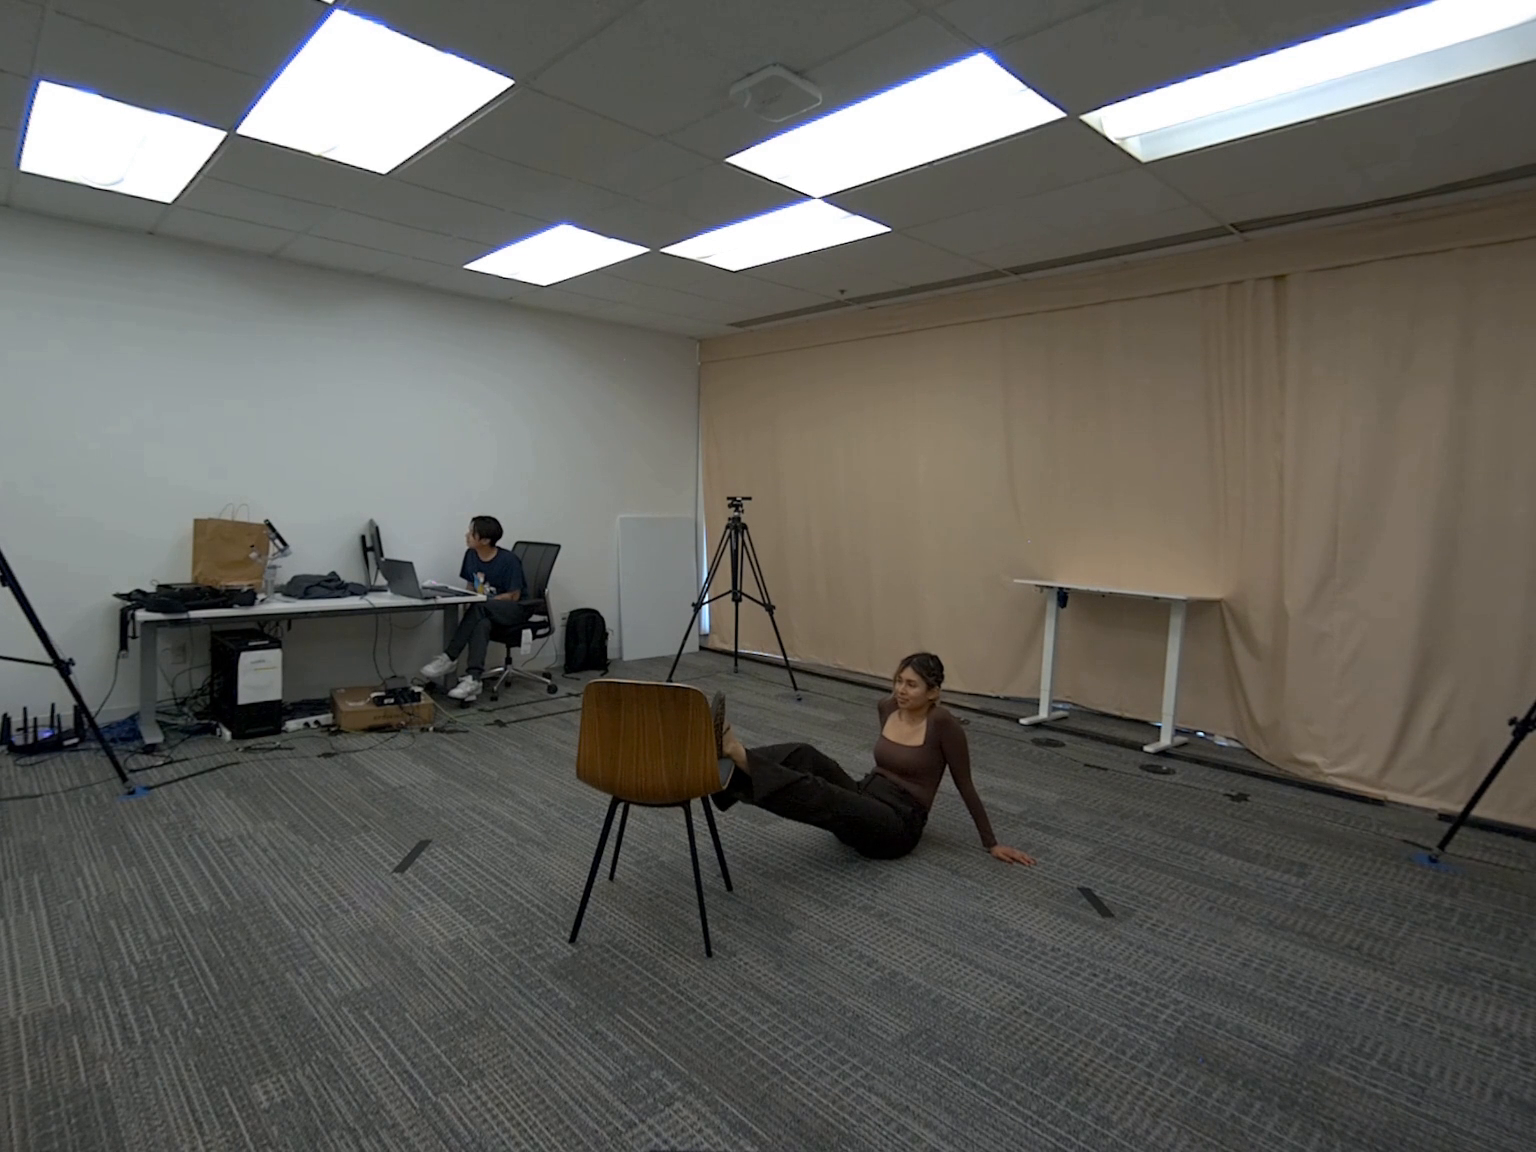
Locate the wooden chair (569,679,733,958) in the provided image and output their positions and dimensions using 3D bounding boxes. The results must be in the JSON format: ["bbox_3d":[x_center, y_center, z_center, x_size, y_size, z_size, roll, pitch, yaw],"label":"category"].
[{"bbox_3d":[-0.364,0.704,2.771,0.481,0.873,0.522,2,7,8],"label":"wooden chair"}]
